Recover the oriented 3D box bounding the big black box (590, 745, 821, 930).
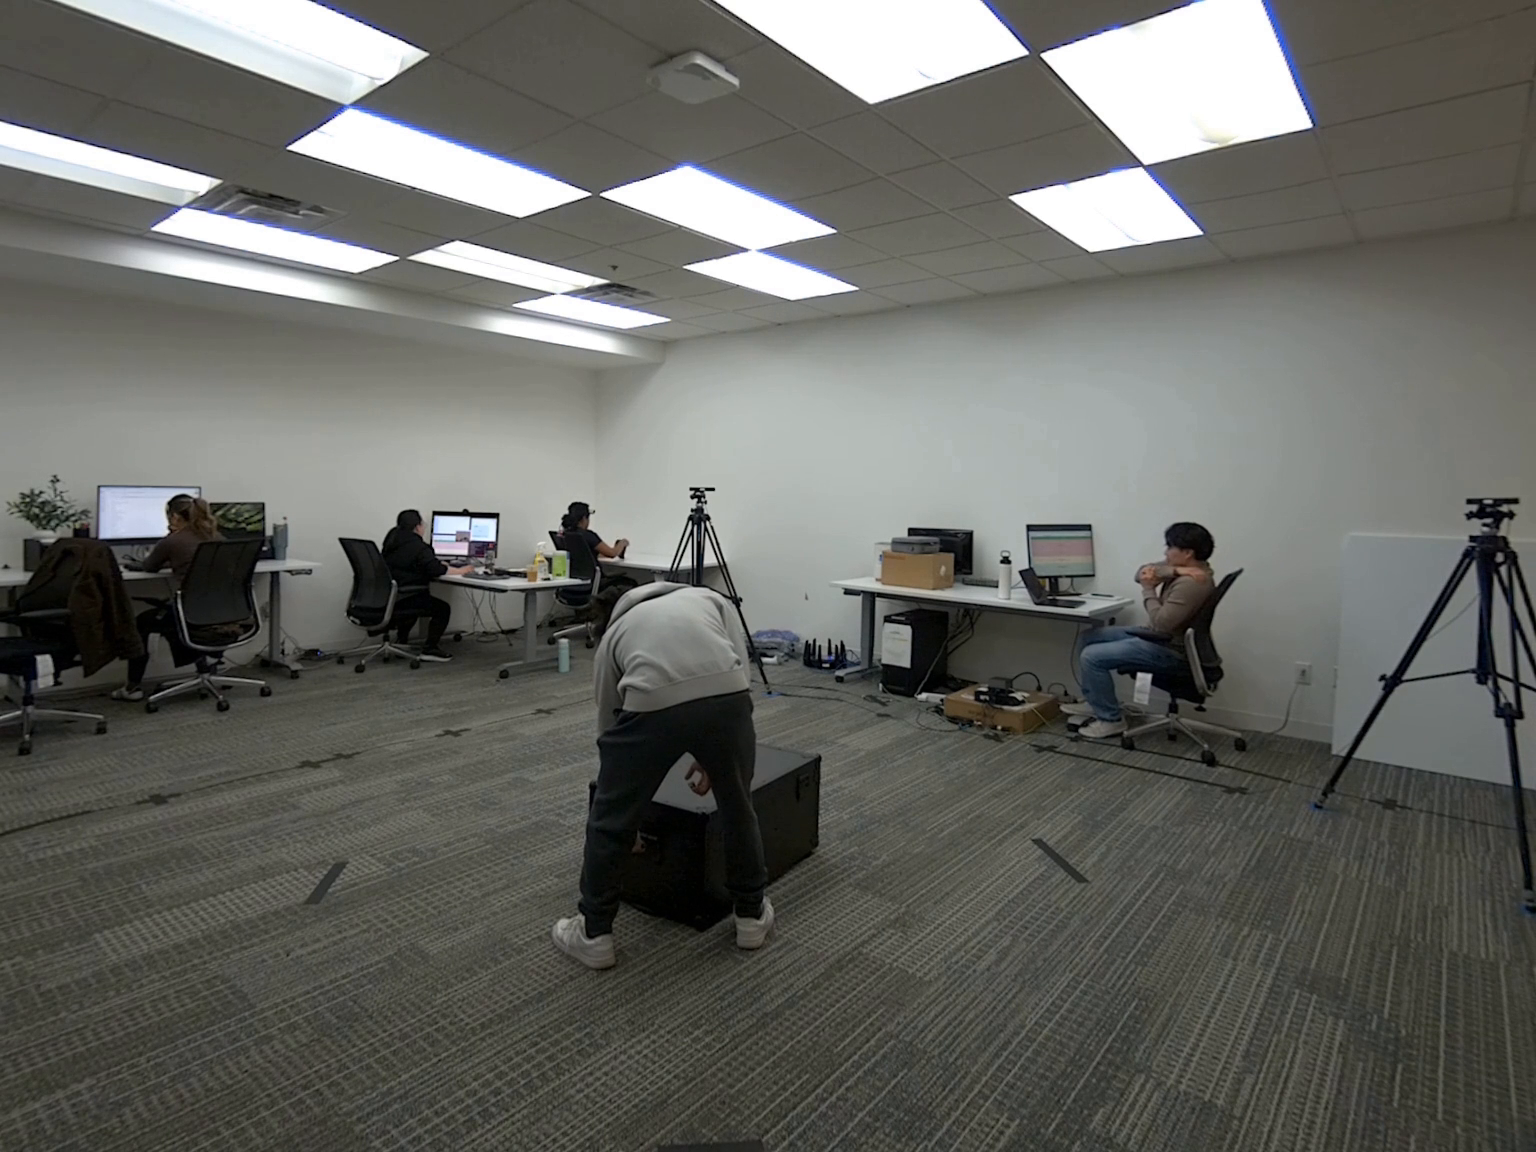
[{"bbox_3d":[-0.193,0.878,3.105,0.537,0.395,0.839,4,6,31],"label":"big black box"}]
